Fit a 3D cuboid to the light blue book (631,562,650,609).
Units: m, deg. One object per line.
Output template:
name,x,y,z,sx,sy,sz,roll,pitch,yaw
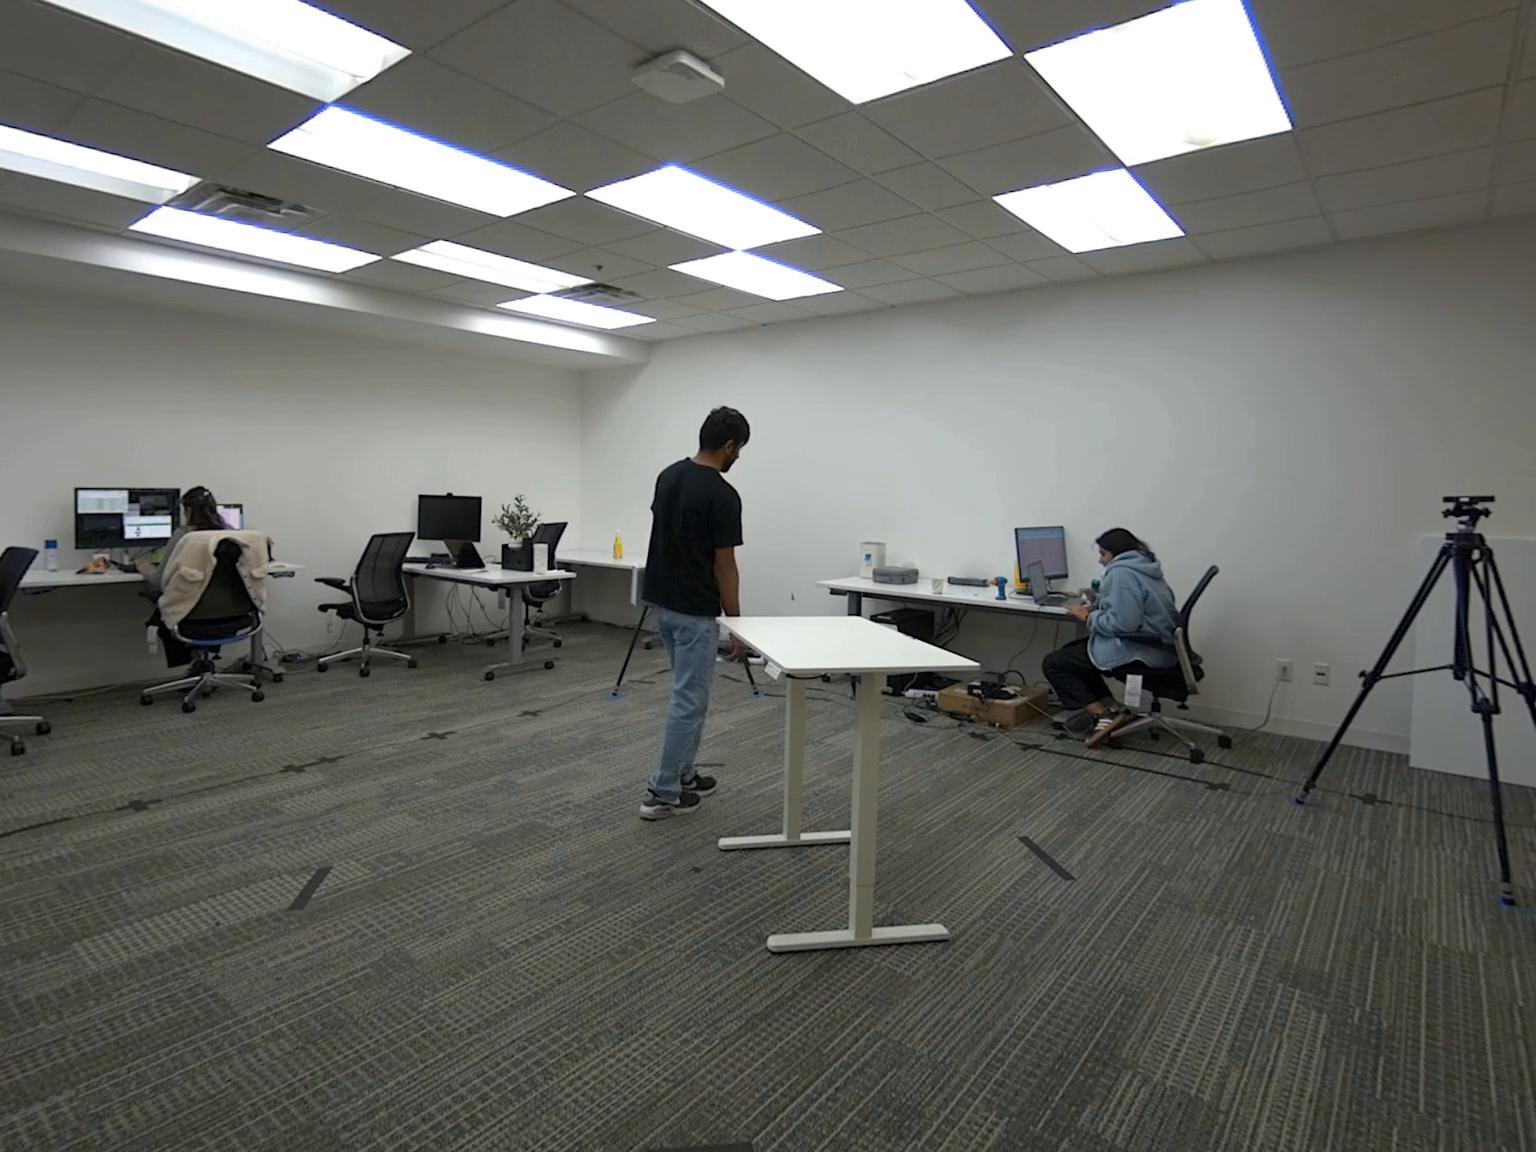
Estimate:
light blue book,-0.481,0.029,3.782,0.255,0.188,0.061,-7,22,-25
